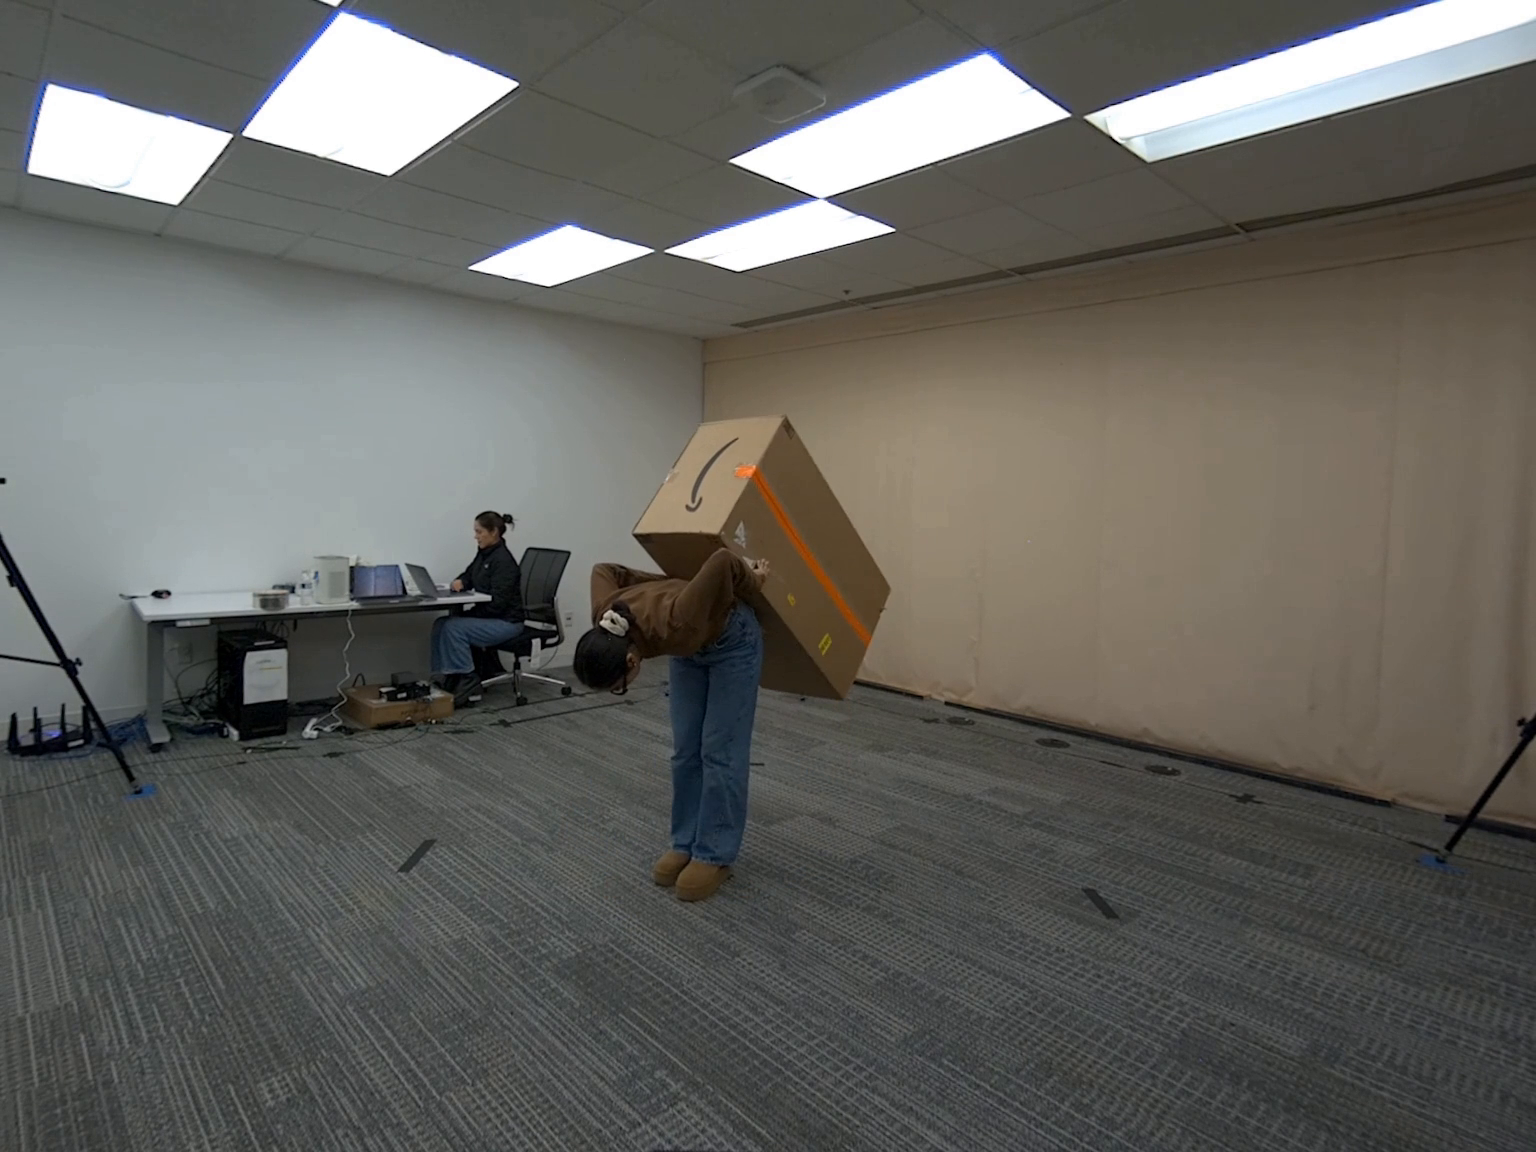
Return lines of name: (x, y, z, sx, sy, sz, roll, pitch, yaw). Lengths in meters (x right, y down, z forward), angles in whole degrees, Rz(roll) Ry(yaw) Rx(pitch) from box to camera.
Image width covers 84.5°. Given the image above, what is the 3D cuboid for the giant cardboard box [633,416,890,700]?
giant cardboard box: (0.016, -0.036, 3.336, 0.457, 0.588, 0.996, 0, -40, 39)
